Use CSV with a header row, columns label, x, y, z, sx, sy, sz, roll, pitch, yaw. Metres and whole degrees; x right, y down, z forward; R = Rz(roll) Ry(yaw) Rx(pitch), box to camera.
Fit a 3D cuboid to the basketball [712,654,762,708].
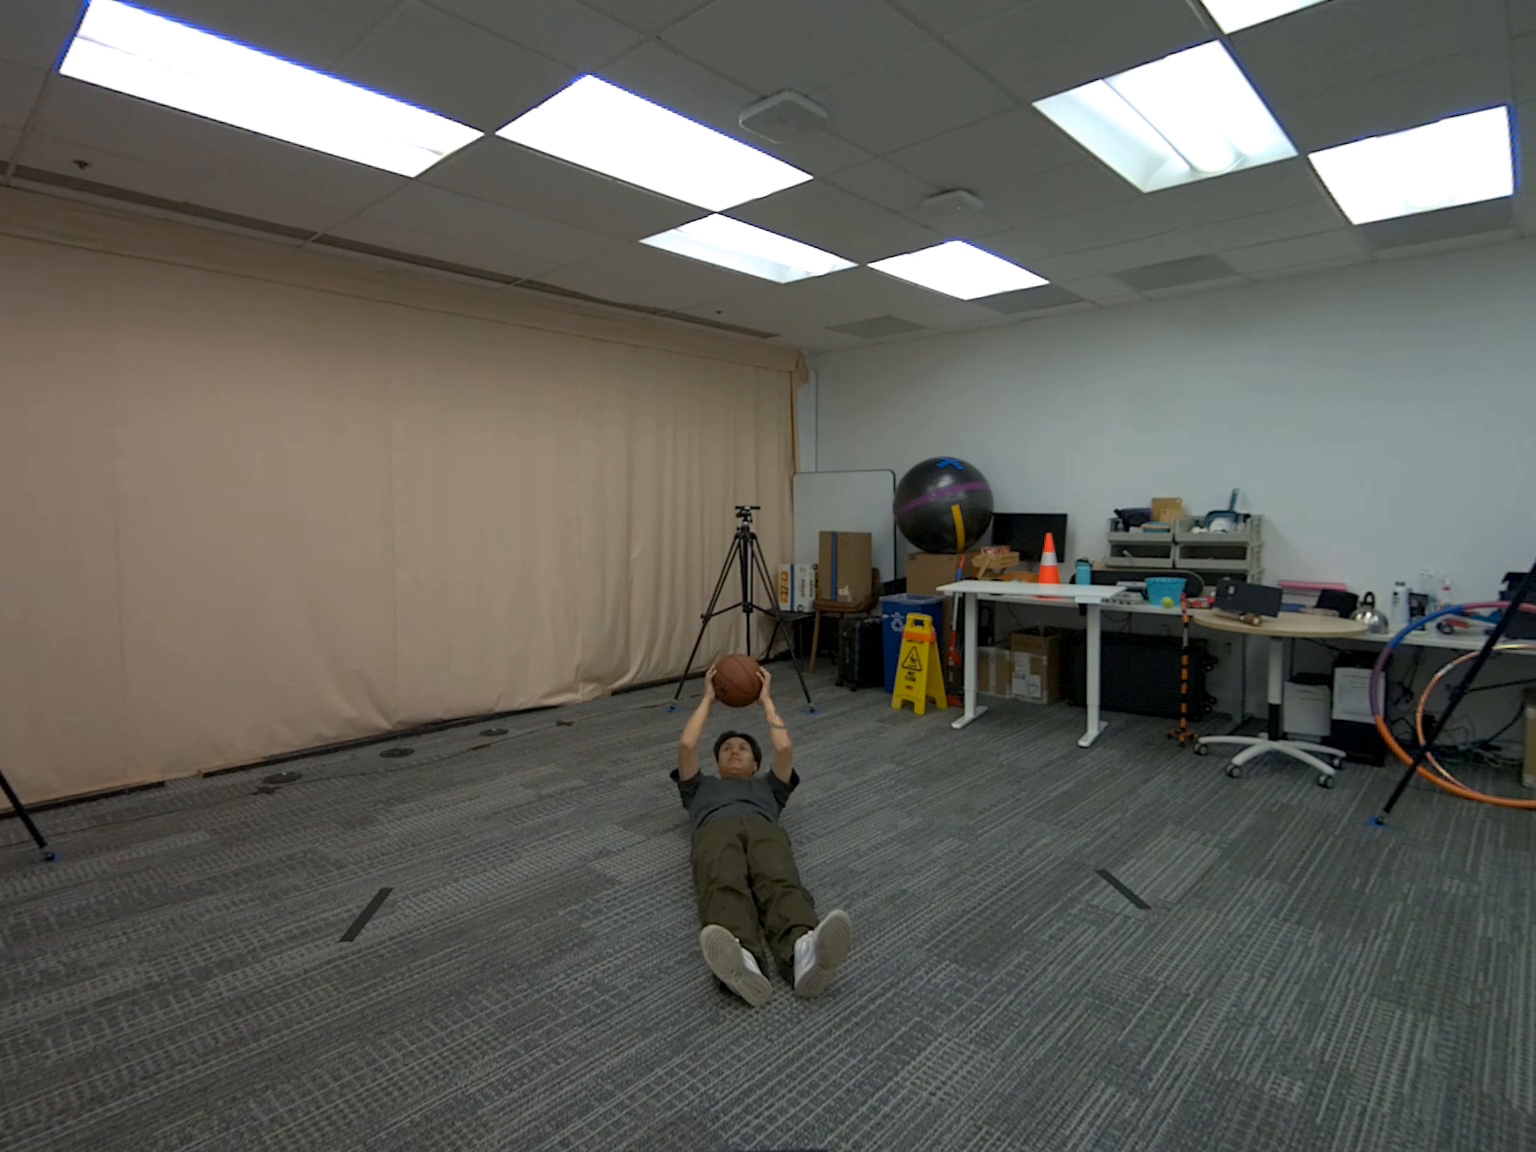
label,x,y,z,sx,sy,sz,roll,pitch,yaw
basketball,-0.131,0.468,3.744,0.236,0.235,0.237,0,4,-2
